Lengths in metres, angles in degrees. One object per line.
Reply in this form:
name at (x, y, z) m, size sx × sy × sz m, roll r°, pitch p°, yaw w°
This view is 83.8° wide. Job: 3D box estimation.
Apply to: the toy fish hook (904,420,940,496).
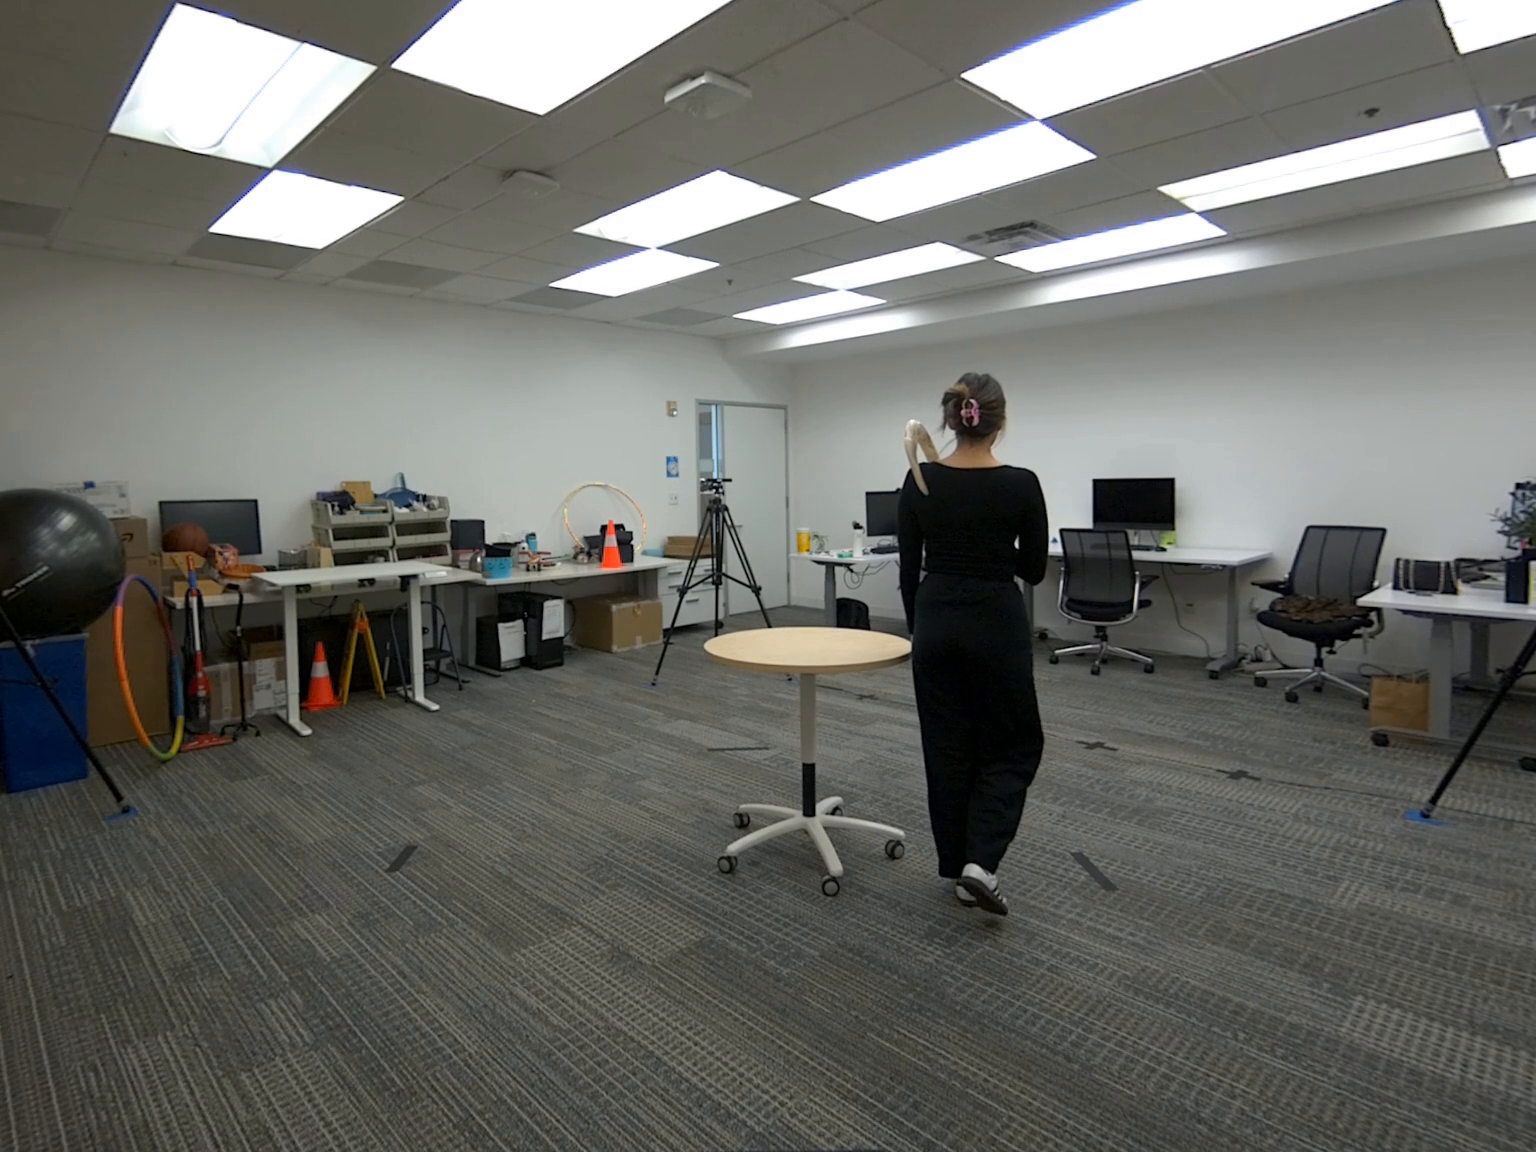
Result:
toy fish hook at (0.560, -0.285, 2.782) m, size 0.049 × 0.489 × 0.227 m, roll -7°, pitch 42°, yaw 35°
